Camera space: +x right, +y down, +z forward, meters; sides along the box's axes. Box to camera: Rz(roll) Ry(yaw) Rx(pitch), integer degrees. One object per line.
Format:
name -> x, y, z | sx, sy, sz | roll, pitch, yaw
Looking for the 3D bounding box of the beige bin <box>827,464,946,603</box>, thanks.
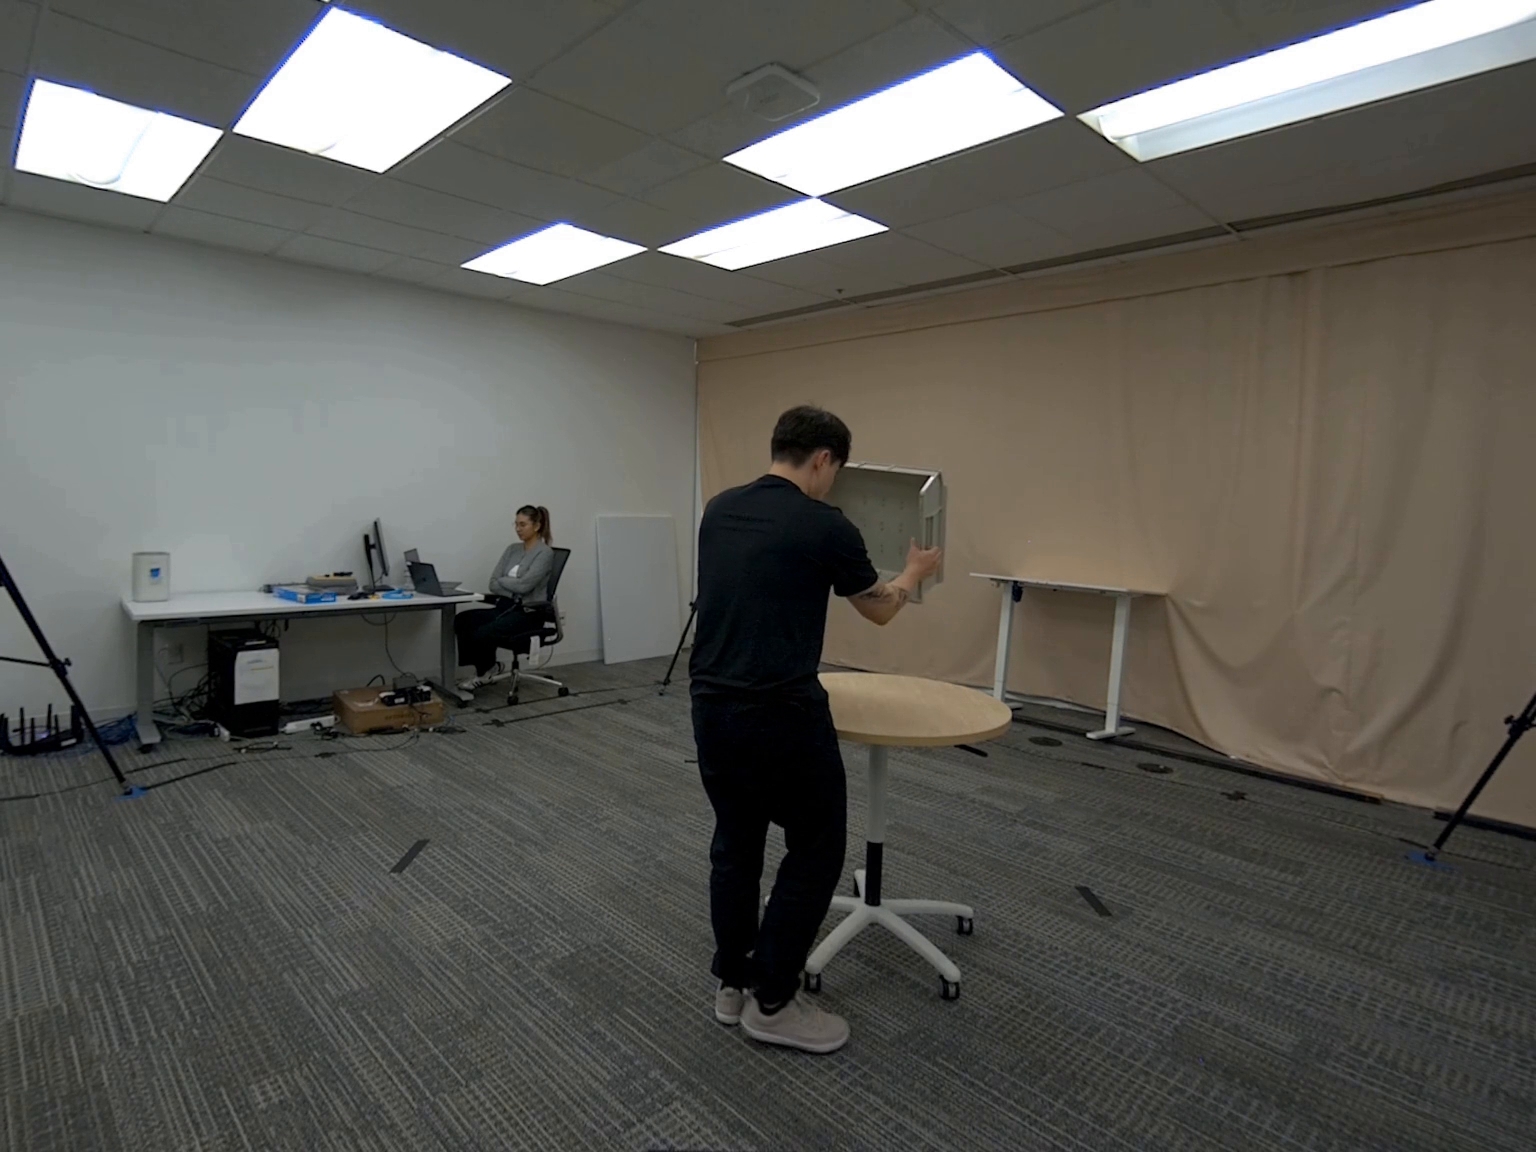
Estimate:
beige bin -> 0.318, -0.141, 2.610 | 0.433, 0.372, 0.187 | 11, 23, 33
